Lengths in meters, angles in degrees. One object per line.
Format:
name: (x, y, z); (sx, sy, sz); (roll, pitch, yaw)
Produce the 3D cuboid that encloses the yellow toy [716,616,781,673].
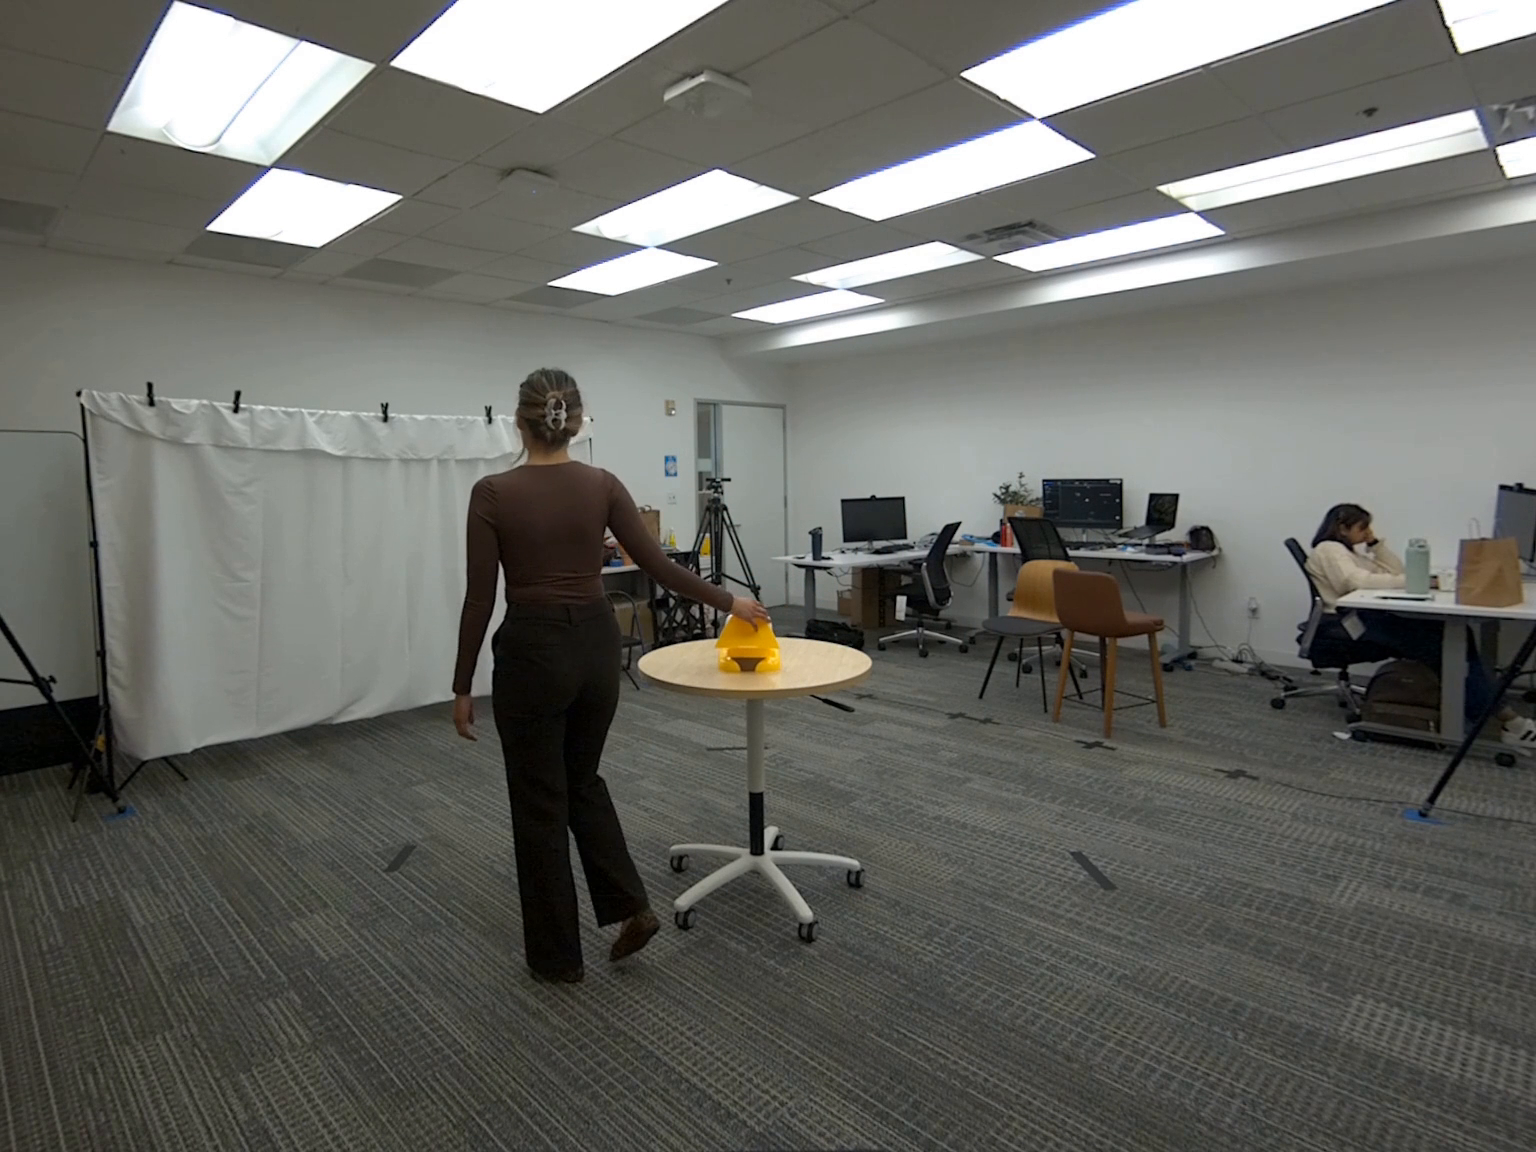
yellow toy: (-0.056, 0.175, 2.721); (0.206, 0.230, 0.193); (0, 5, 4)
